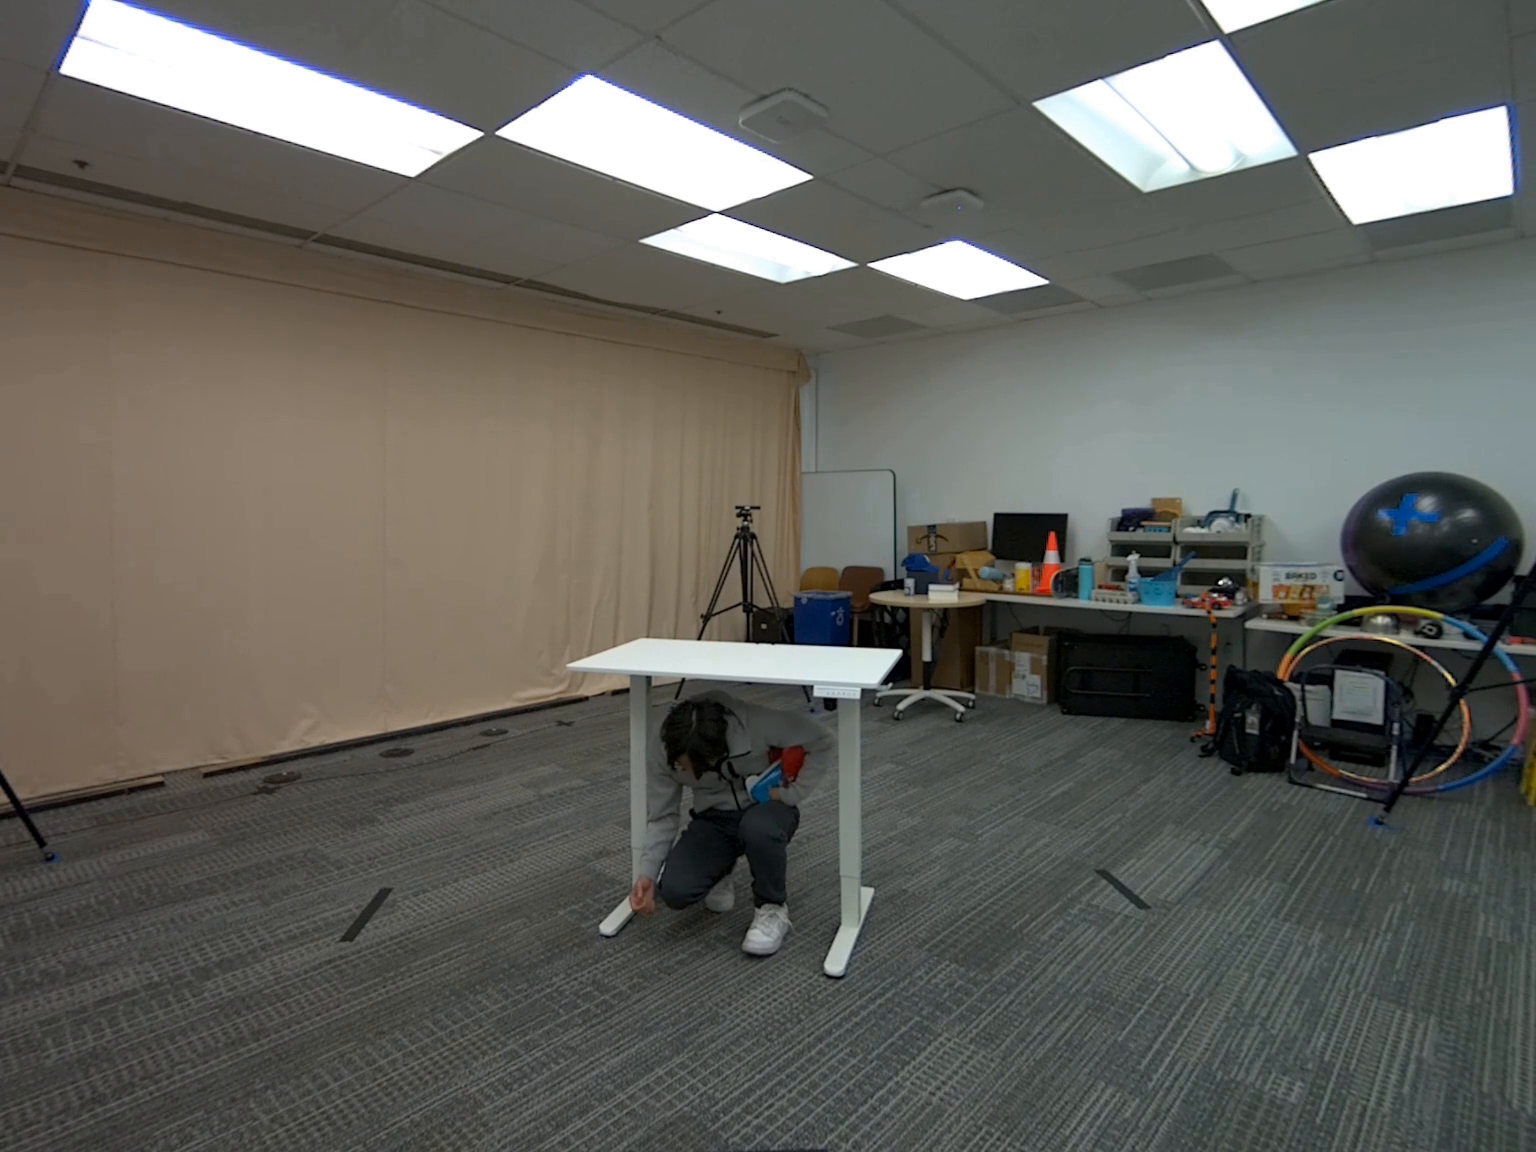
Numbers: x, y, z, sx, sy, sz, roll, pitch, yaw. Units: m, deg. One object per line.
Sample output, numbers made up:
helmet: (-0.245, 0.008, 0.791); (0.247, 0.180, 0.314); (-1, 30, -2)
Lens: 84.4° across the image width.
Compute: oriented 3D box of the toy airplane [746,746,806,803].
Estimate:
toy airplane: (0.032, 0.651, 2.864); (0.250, 0.252, 0.161); (-21, 38, -5)
